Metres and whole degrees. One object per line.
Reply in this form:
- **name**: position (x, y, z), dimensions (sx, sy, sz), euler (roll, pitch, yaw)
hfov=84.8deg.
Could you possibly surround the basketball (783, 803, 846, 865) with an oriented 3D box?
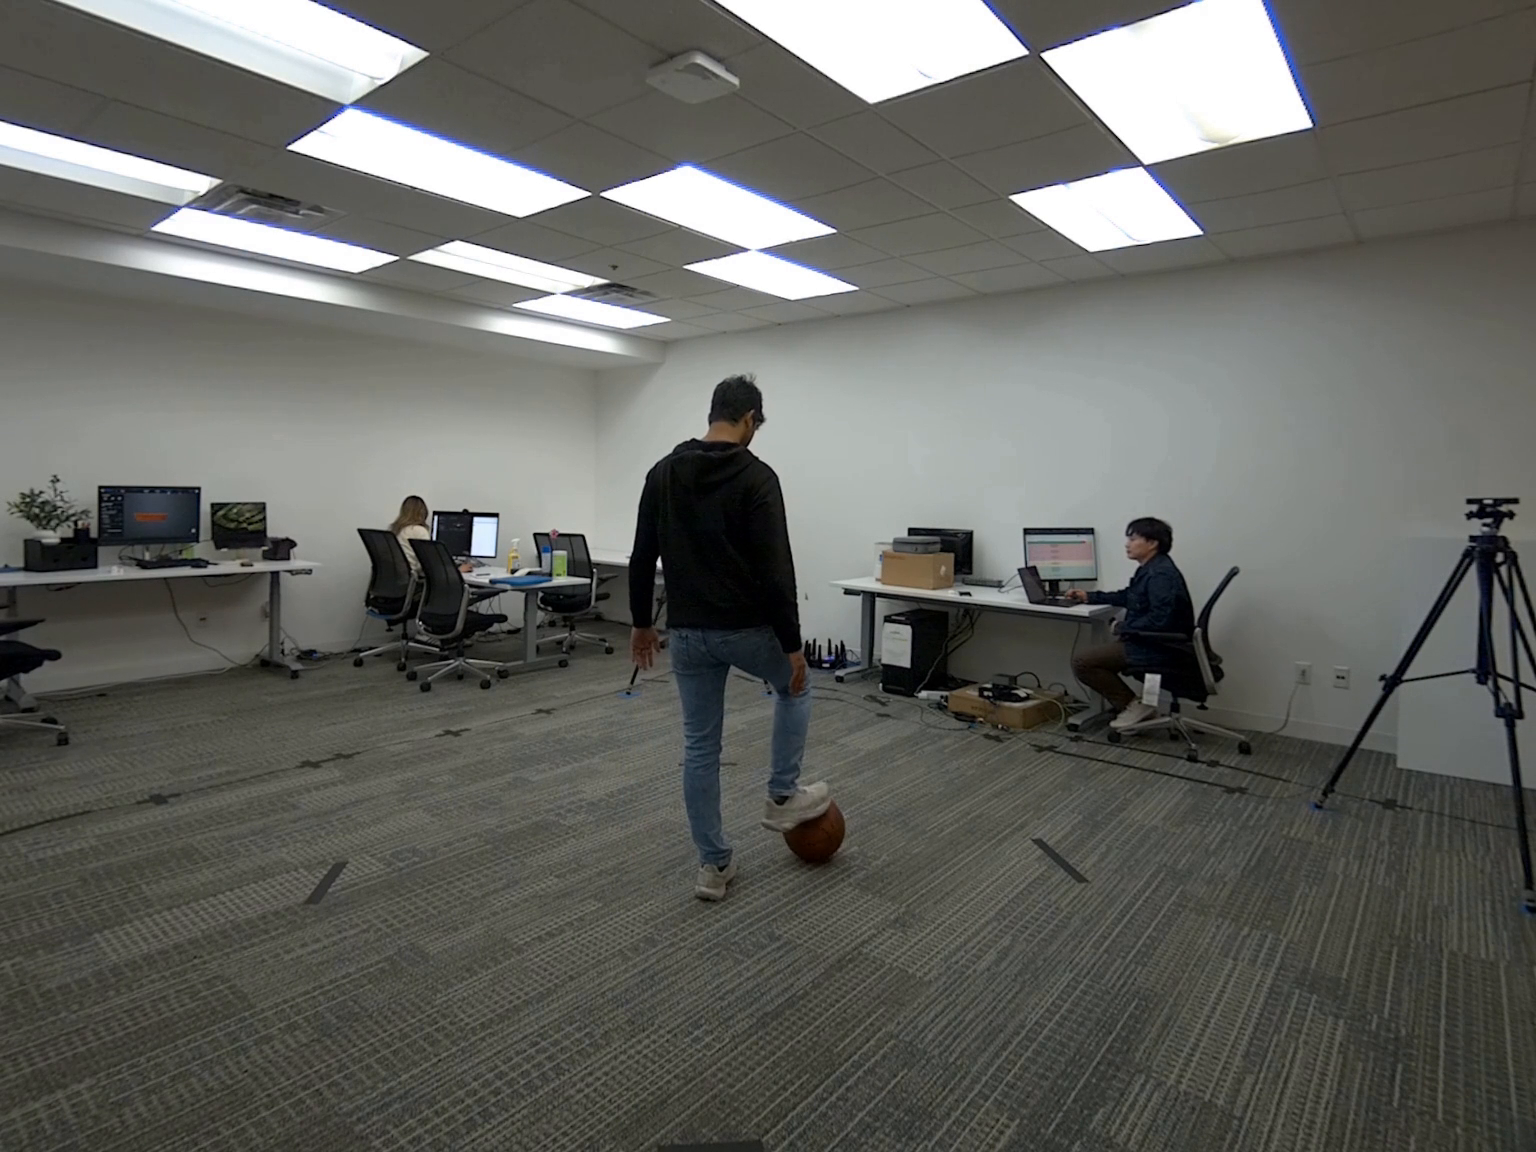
- **basketball**: position (0.162, 0.942, 3.226), dimensions (0.235, 0.235, 0.237), euler (1, 4, -2)
